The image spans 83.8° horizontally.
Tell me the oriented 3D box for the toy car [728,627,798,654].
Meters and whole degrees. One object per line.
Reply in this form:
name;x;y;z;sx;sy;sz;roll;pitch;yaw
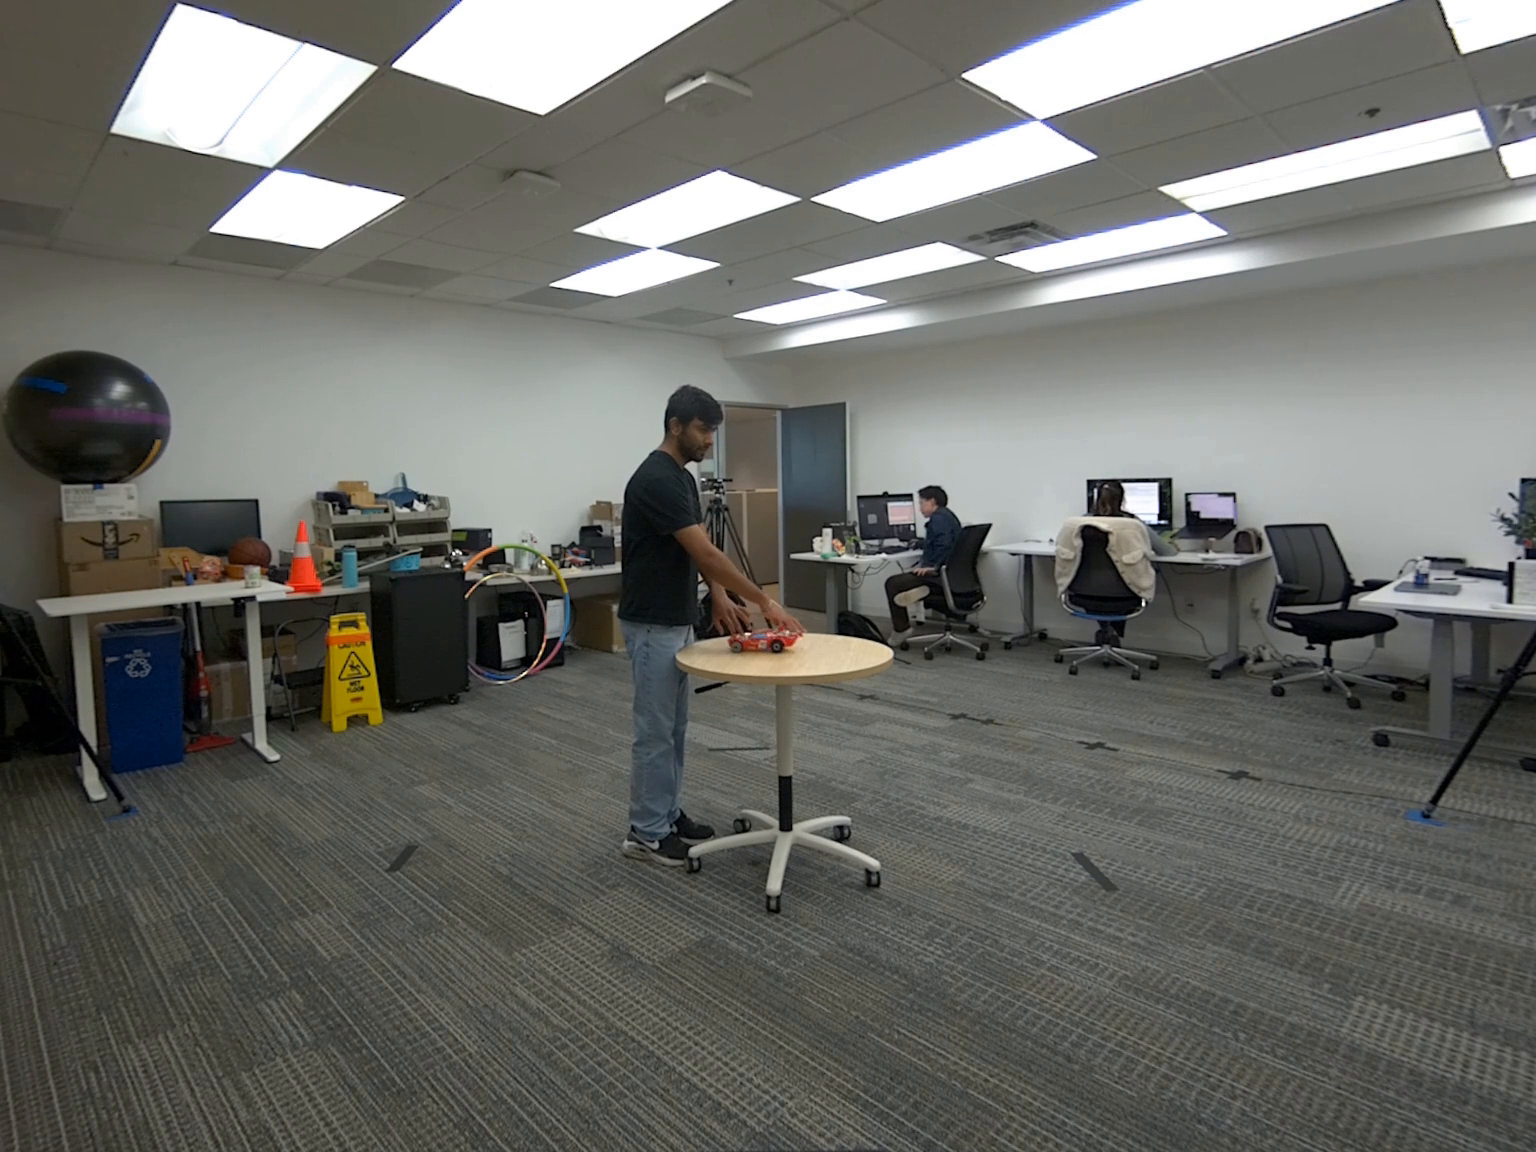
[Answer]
toy car;-0.008;0.234;3.053;0.257;0.083;0.129;-10;4;12
